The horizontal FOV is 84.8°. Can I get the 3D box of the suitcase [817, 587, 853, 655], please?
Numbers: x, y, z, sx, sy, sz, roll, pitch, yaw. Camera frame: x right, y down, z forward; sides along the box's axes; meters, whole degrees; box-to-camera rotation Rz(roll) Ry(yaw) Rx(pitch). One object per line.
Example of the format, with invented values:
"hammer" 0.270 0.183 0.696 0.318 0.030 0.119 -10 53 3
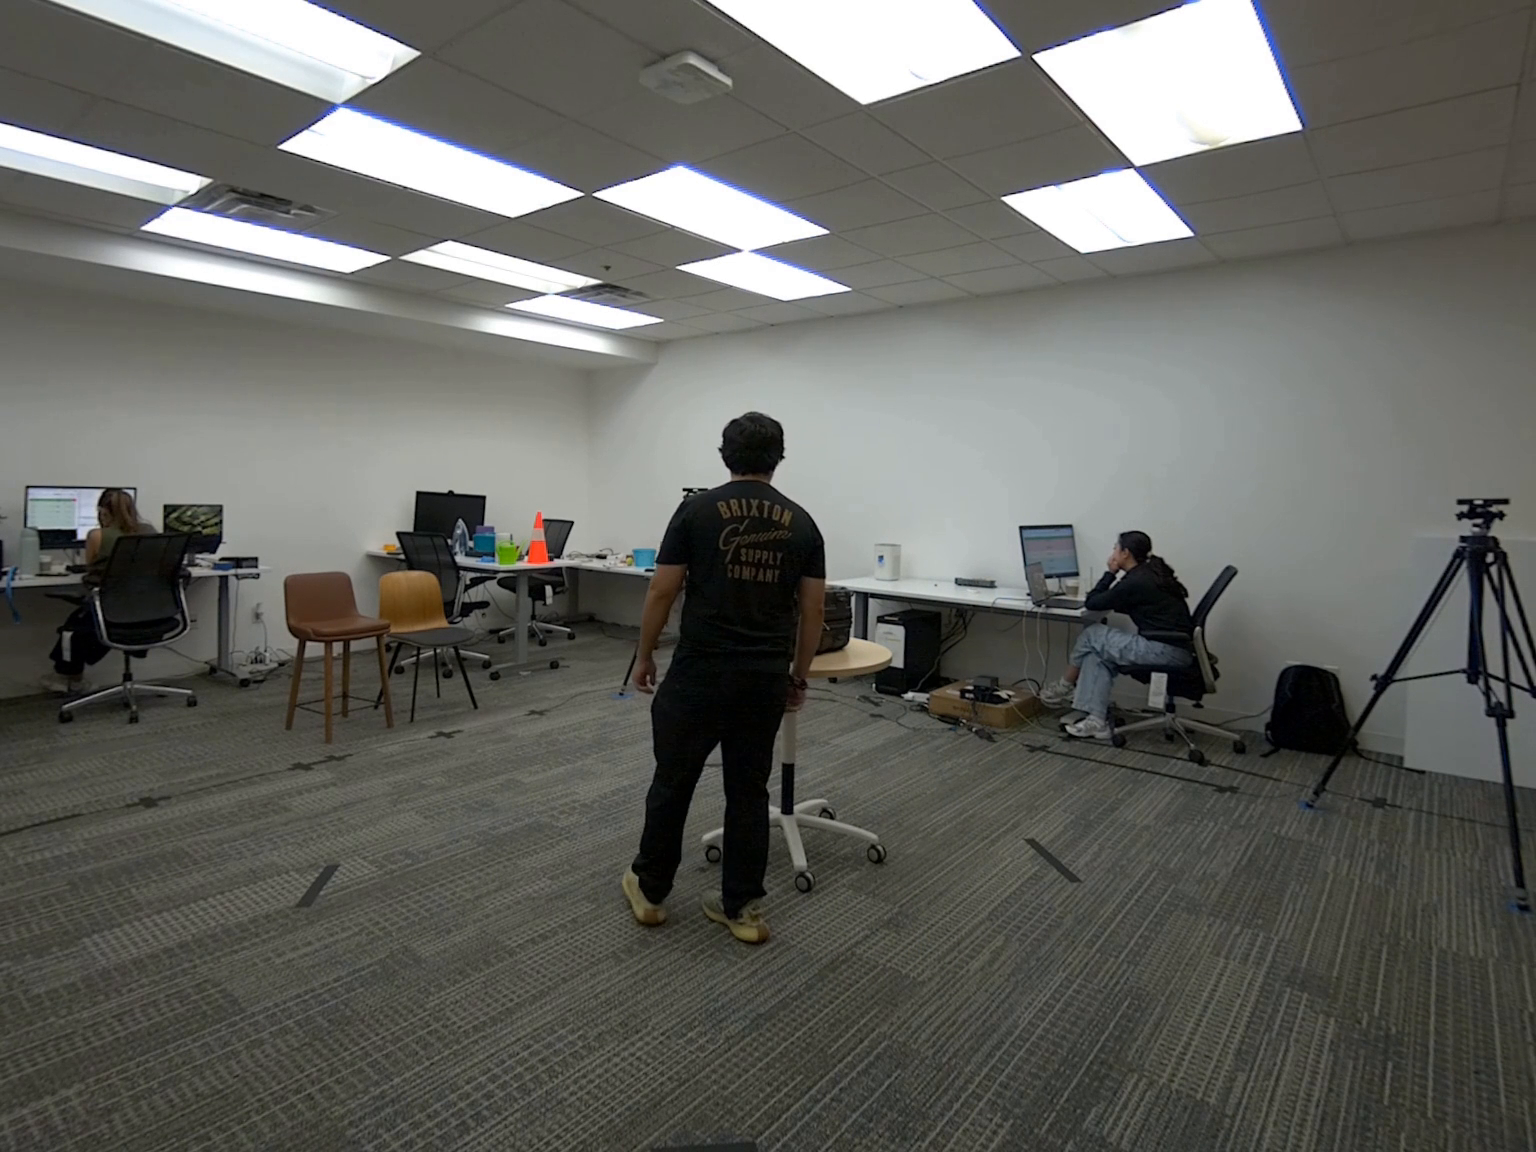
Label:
"suitcase" 0.044 0.156 3.228 0.388 0.248 0.533 5 5 37
